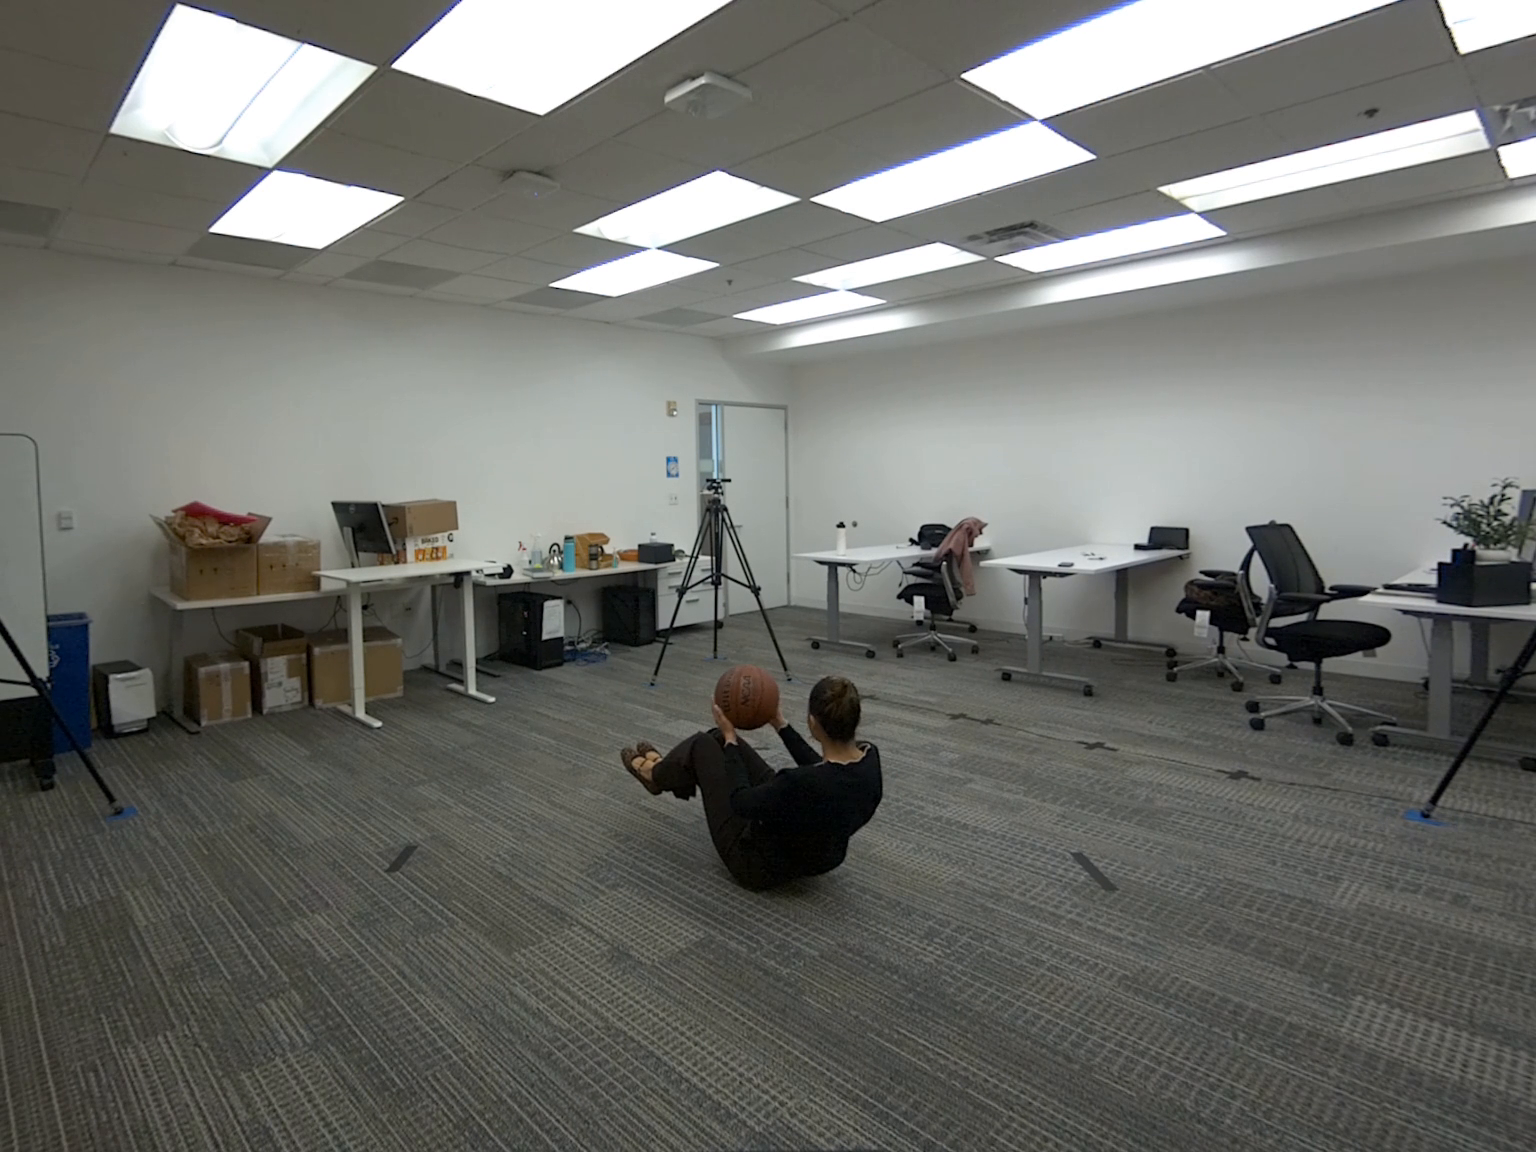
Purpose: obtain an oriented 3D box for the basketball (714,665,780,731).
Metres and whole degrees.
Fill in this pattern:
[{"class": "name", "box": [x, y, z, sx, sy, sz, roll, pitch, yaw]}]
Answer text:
[{"class": "basketball", "box": [-0.074, 0.454, 3.090, 0.236, 0.235, 0.237, -1, 5, -2]}]
